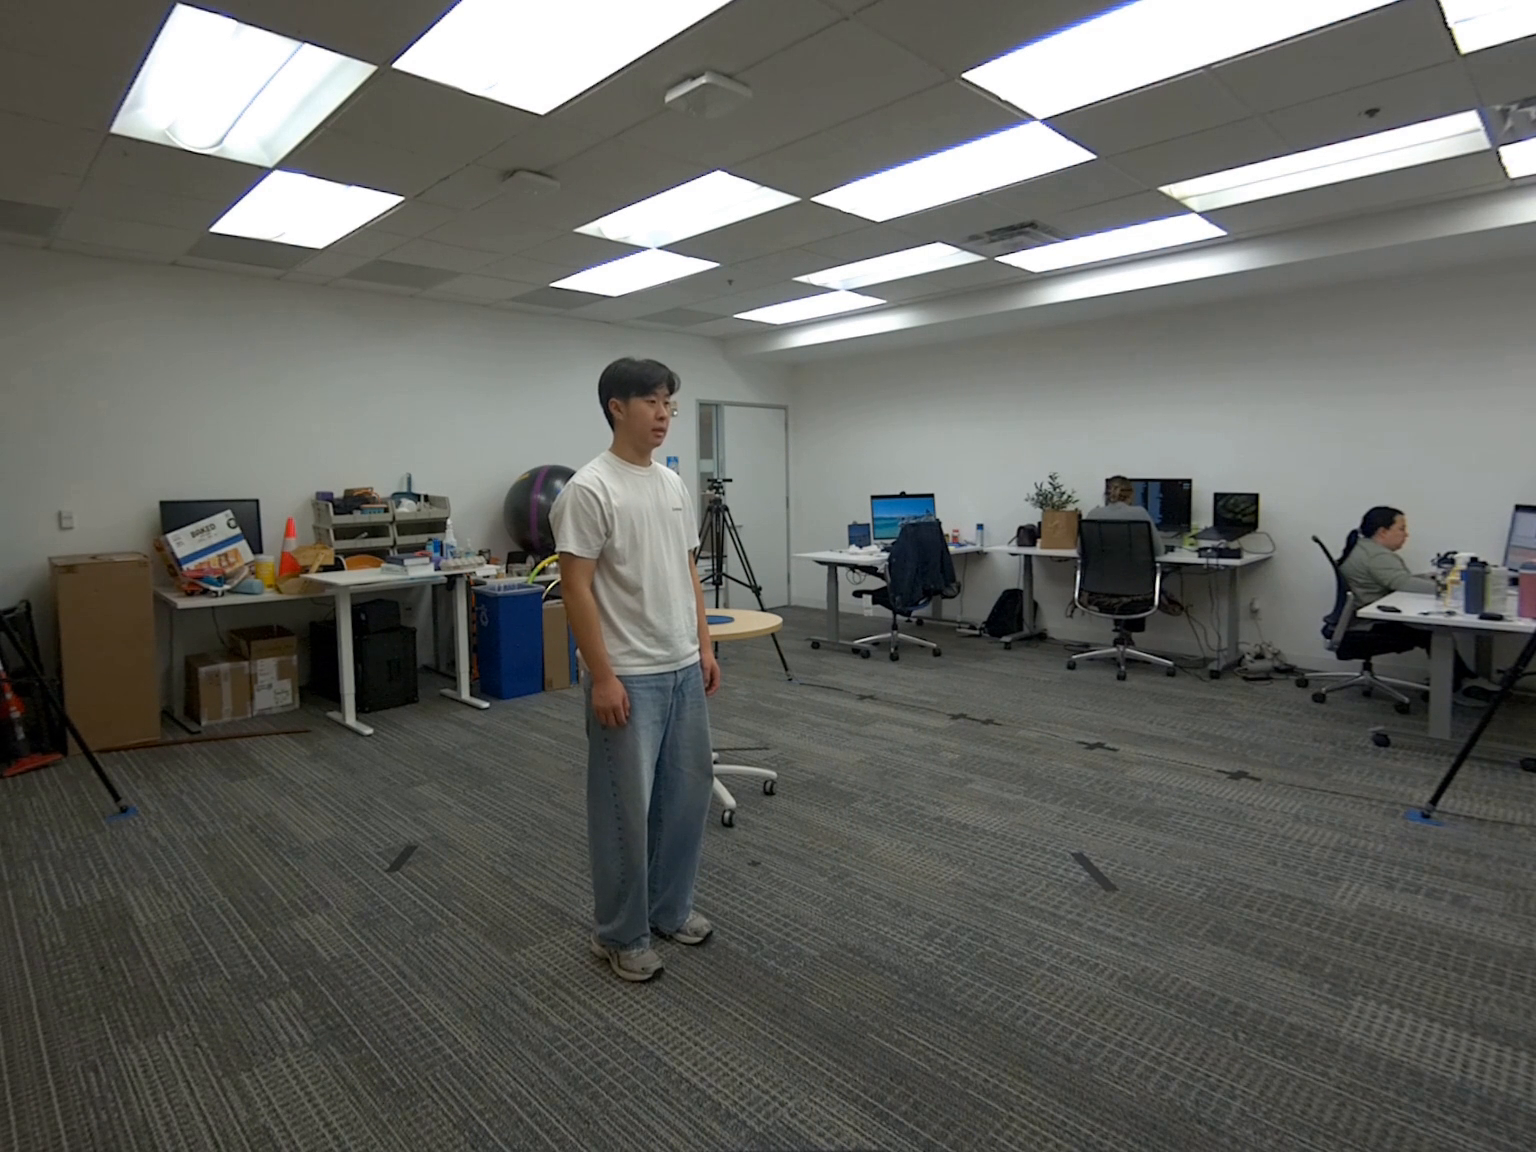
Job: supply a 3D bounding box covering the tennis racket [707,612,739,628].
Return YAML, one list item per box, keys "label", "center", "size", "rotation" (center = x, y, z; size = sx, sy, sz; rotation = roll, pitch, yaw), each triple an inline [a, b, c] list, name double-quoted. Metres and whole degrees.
- label: "tennis racket"
  center: [-0.365, 0.189, 3.698]
  size: [0.428, 0.031, 0.217]
  rotation: [-1, 5, -11]
